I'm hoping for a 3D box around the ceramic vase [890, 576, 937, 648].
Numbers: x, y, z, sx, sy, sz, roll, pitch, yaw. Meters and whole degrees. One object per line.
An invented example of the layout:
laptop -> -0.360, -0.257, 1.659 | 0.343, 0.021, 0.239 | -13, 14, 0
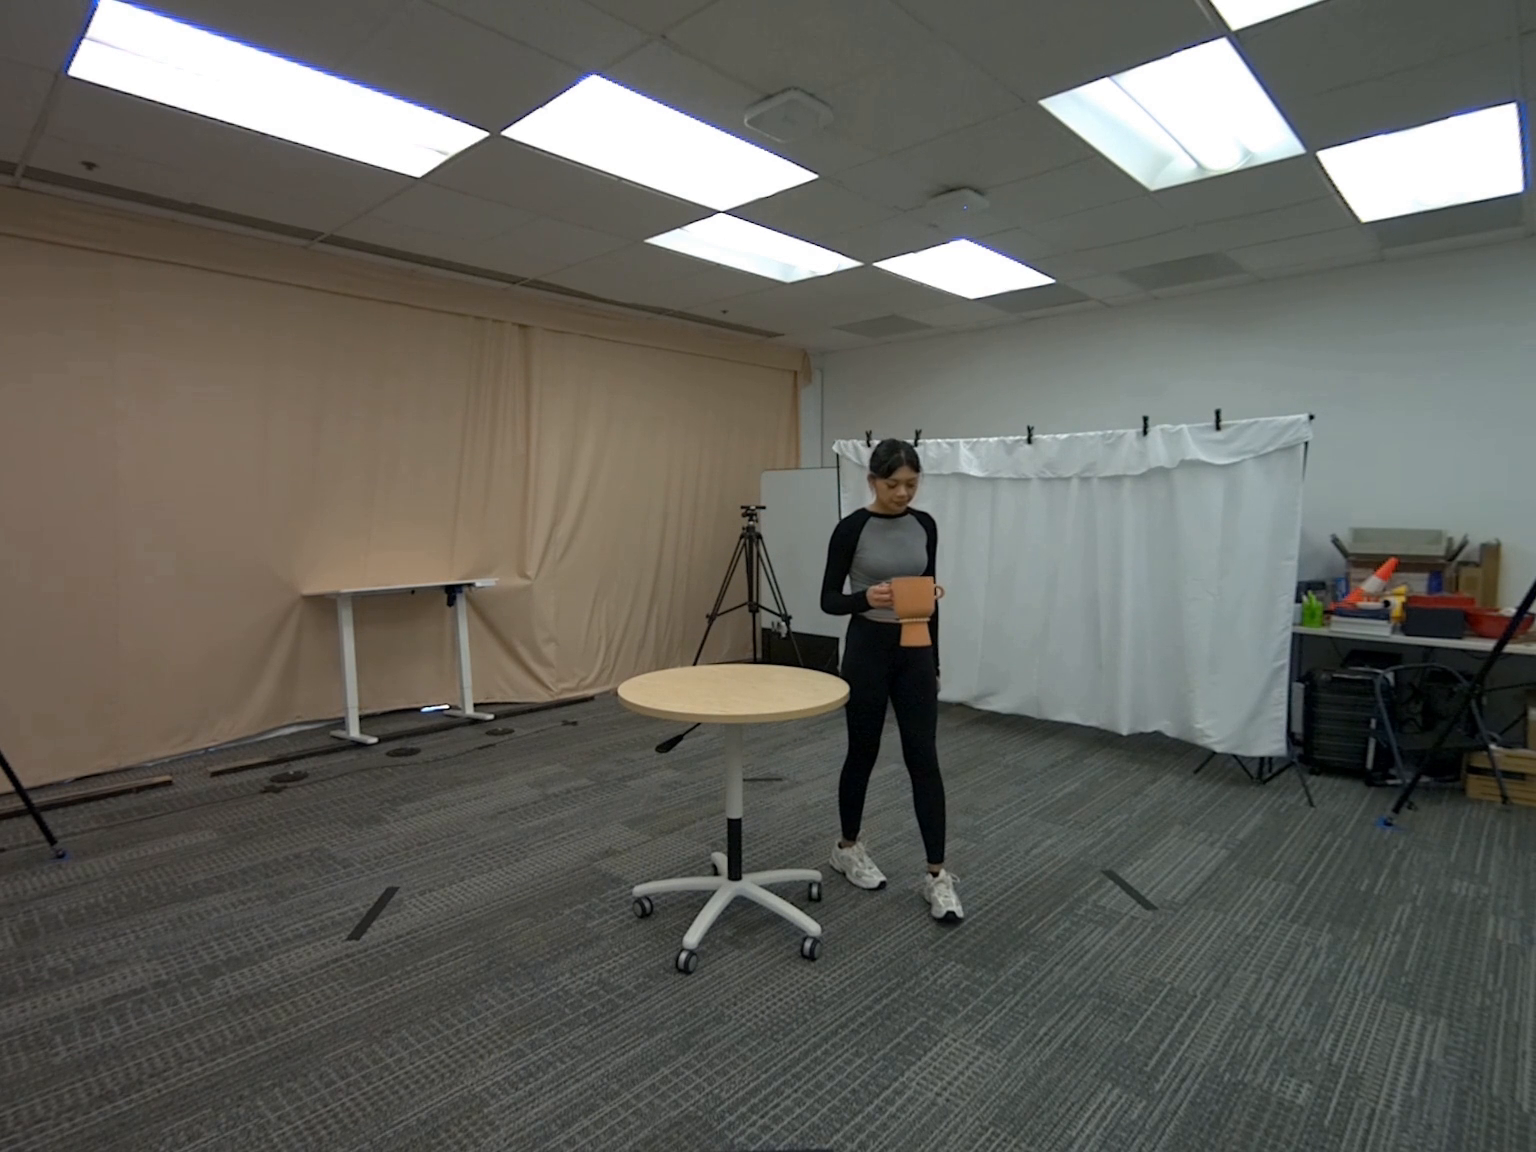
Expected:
ceramic vase -> 0.470, 0.114, 2.744 | 0.130, 0.220, 0.164 | 0, -3, -45
